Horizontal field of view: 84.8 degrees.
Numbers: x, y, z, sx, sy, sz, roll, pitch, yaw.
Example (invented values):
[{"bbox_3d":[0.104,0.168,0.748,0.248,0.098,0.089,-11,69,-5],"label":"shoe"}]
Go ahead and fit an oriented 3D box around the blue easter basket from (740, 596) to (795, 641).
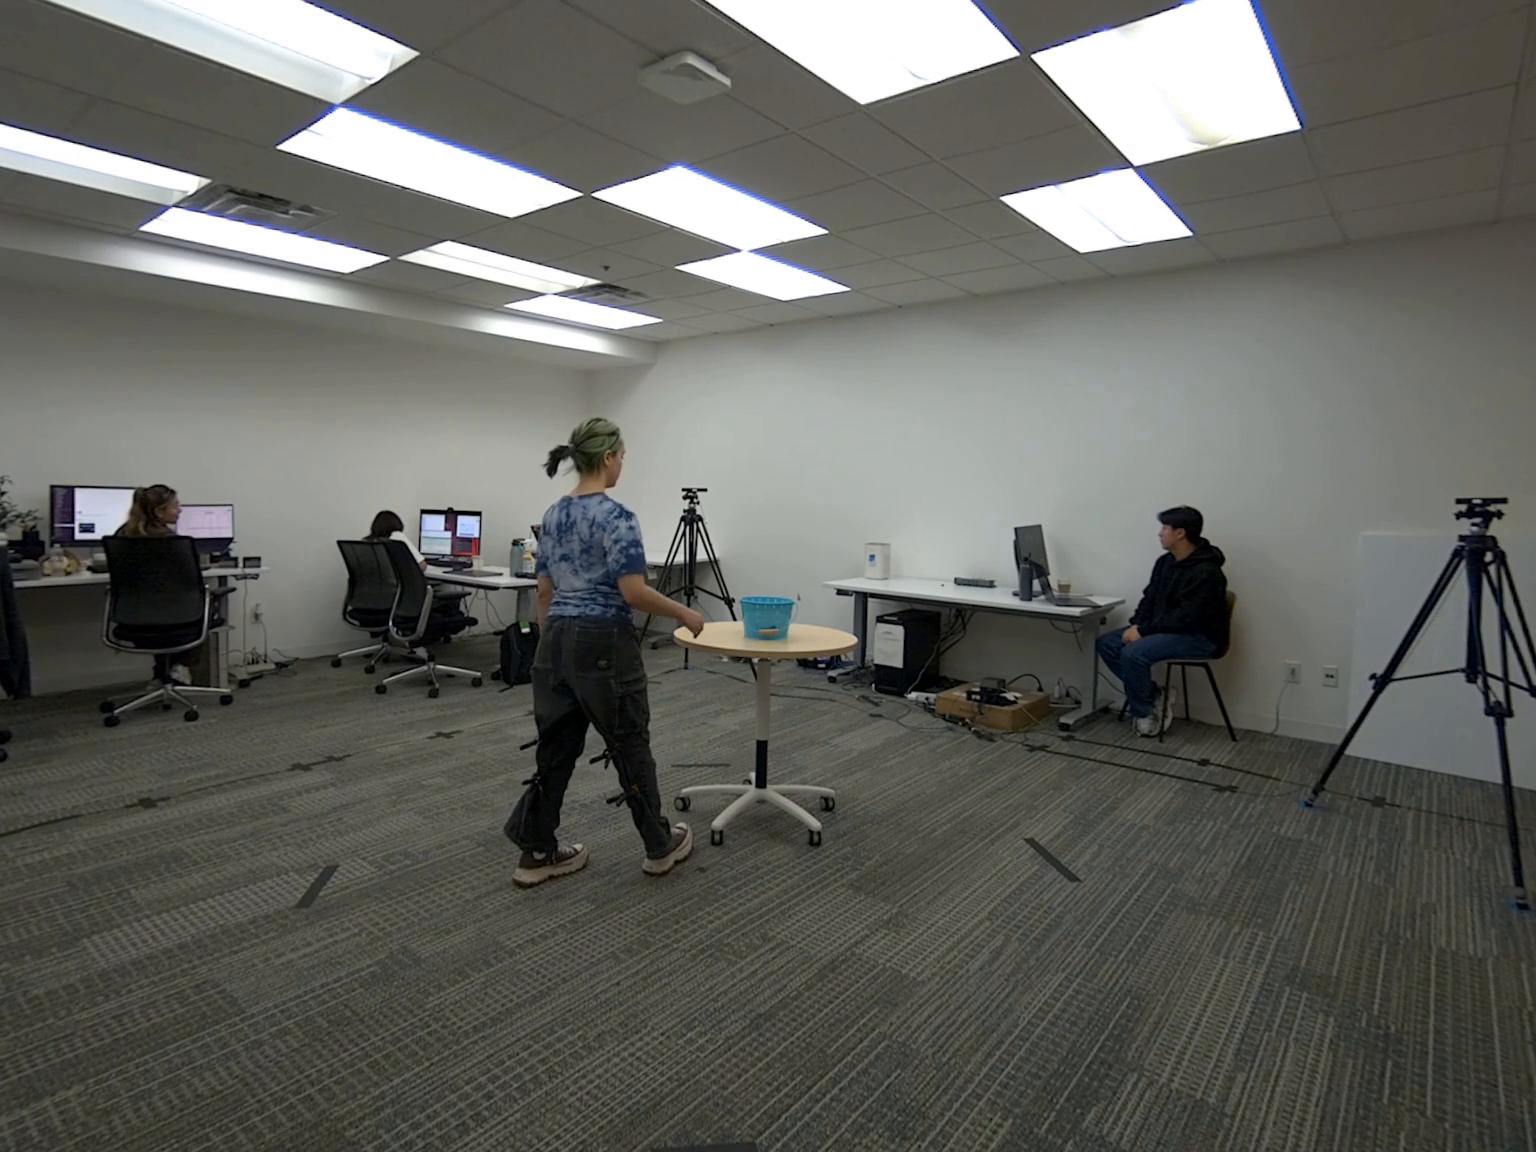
[{"bbox_3d":[-0.018,0.173,3.532,0.243,0.155,0.244,1,4,-2],"label":"blue easter basket"}]
